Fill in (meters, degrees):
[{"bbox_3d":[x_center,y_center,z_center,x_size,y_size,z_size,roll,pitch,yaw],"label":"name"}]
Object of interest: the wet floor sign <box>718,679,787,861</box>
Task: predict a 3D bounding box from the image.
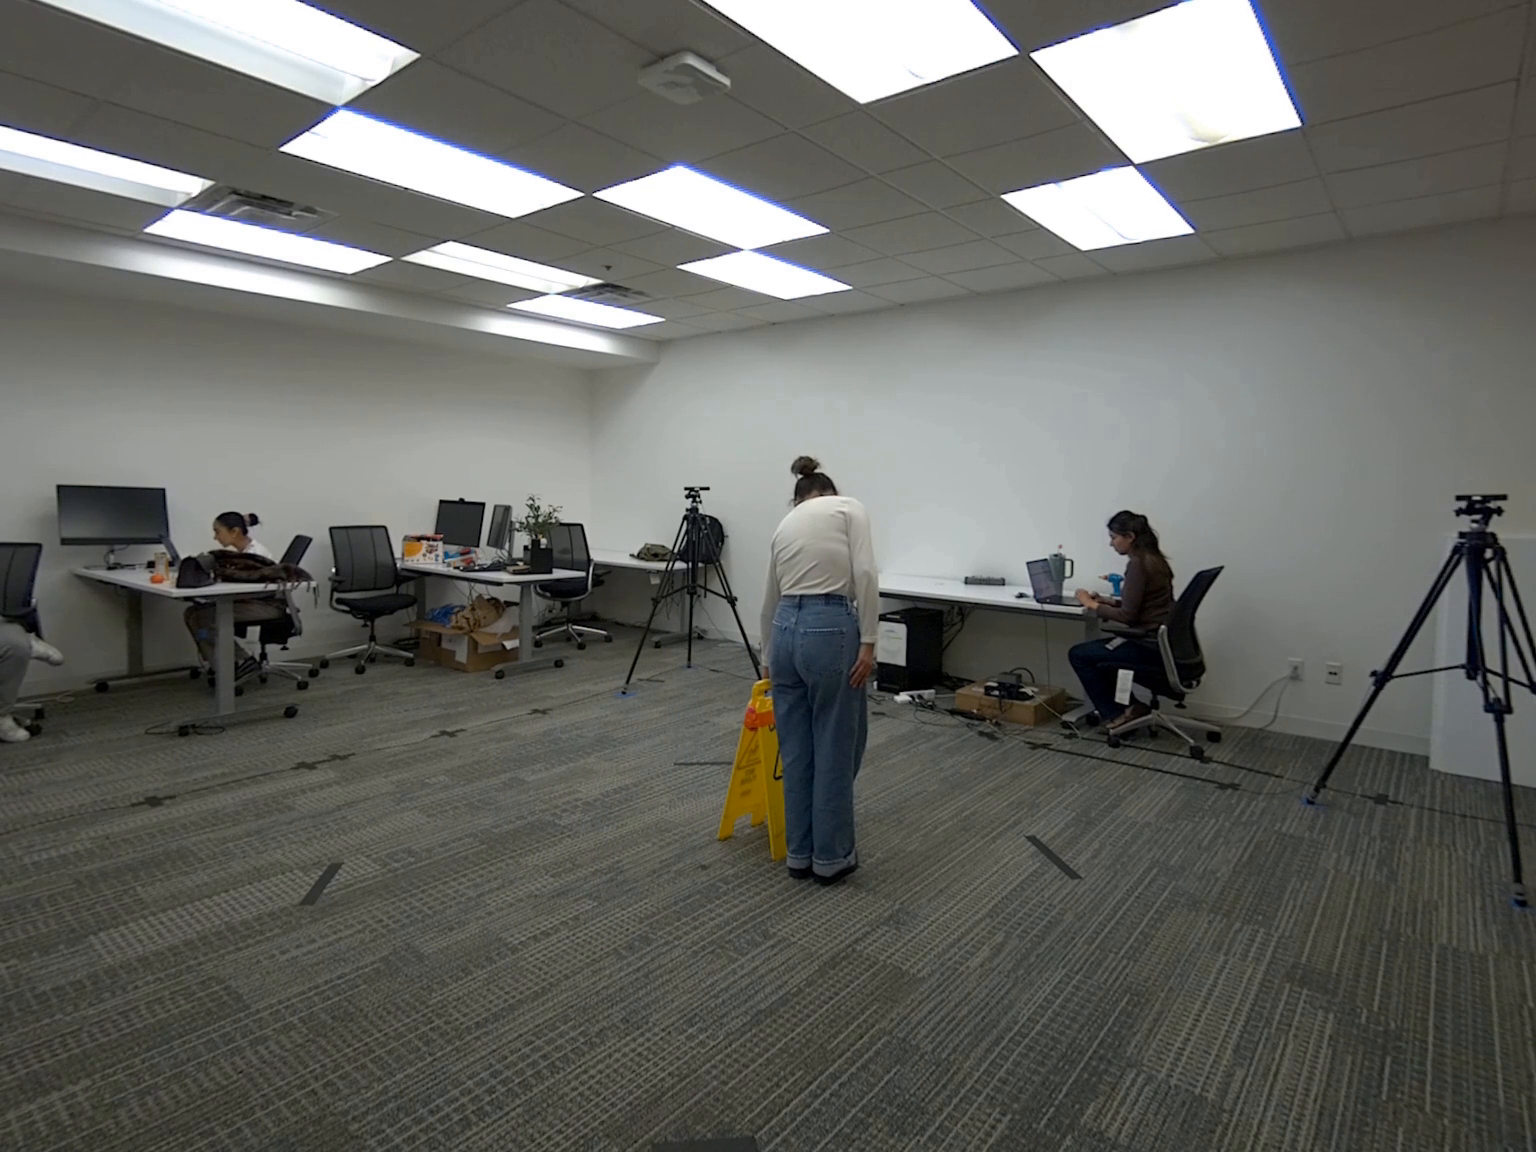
[{"bbox_3d":[0.001,0.721,3.353,0.299,0.644,0.274,4,4,39],"label":"wet floor sign"}]
